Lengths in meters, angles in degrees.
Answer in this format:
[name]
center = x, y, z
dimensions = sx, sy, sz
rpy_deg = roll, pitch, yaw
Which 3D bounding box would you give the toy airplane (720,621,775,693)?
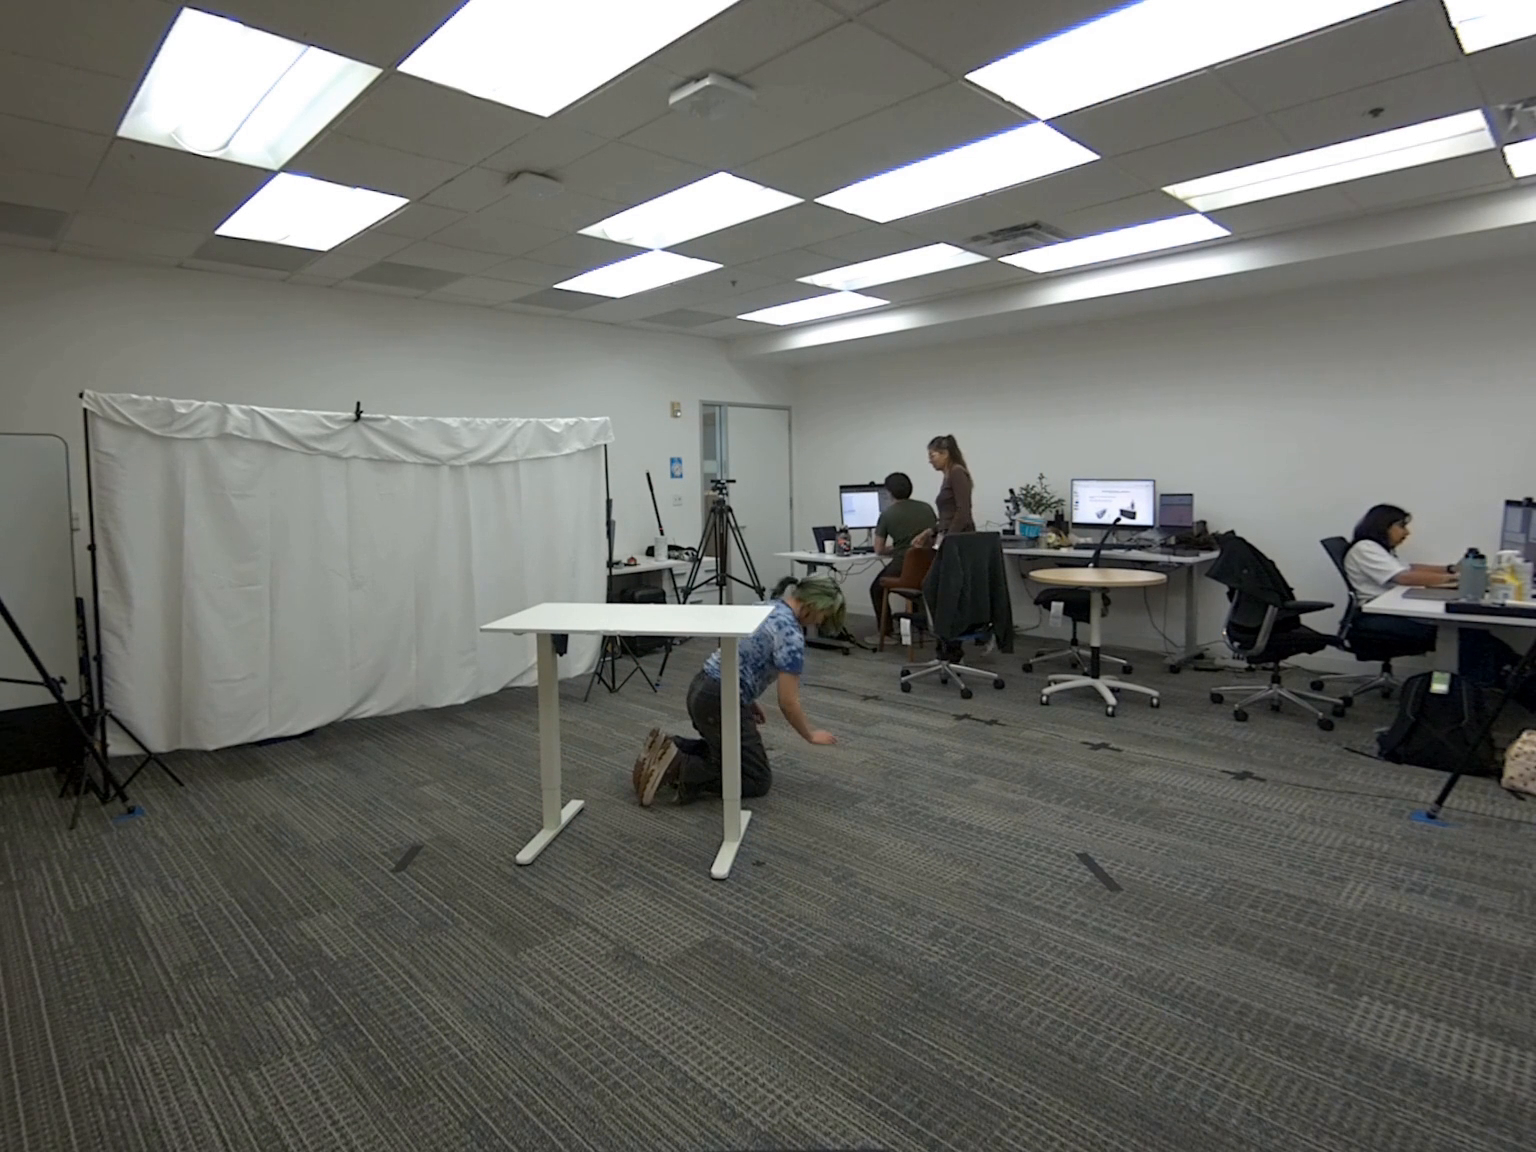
[toy airplane]
center = -0.071, 0.389, 4.116
dimensions = 0.254, 0.248, 0.161
rpy_deg = 16, 30, -17
